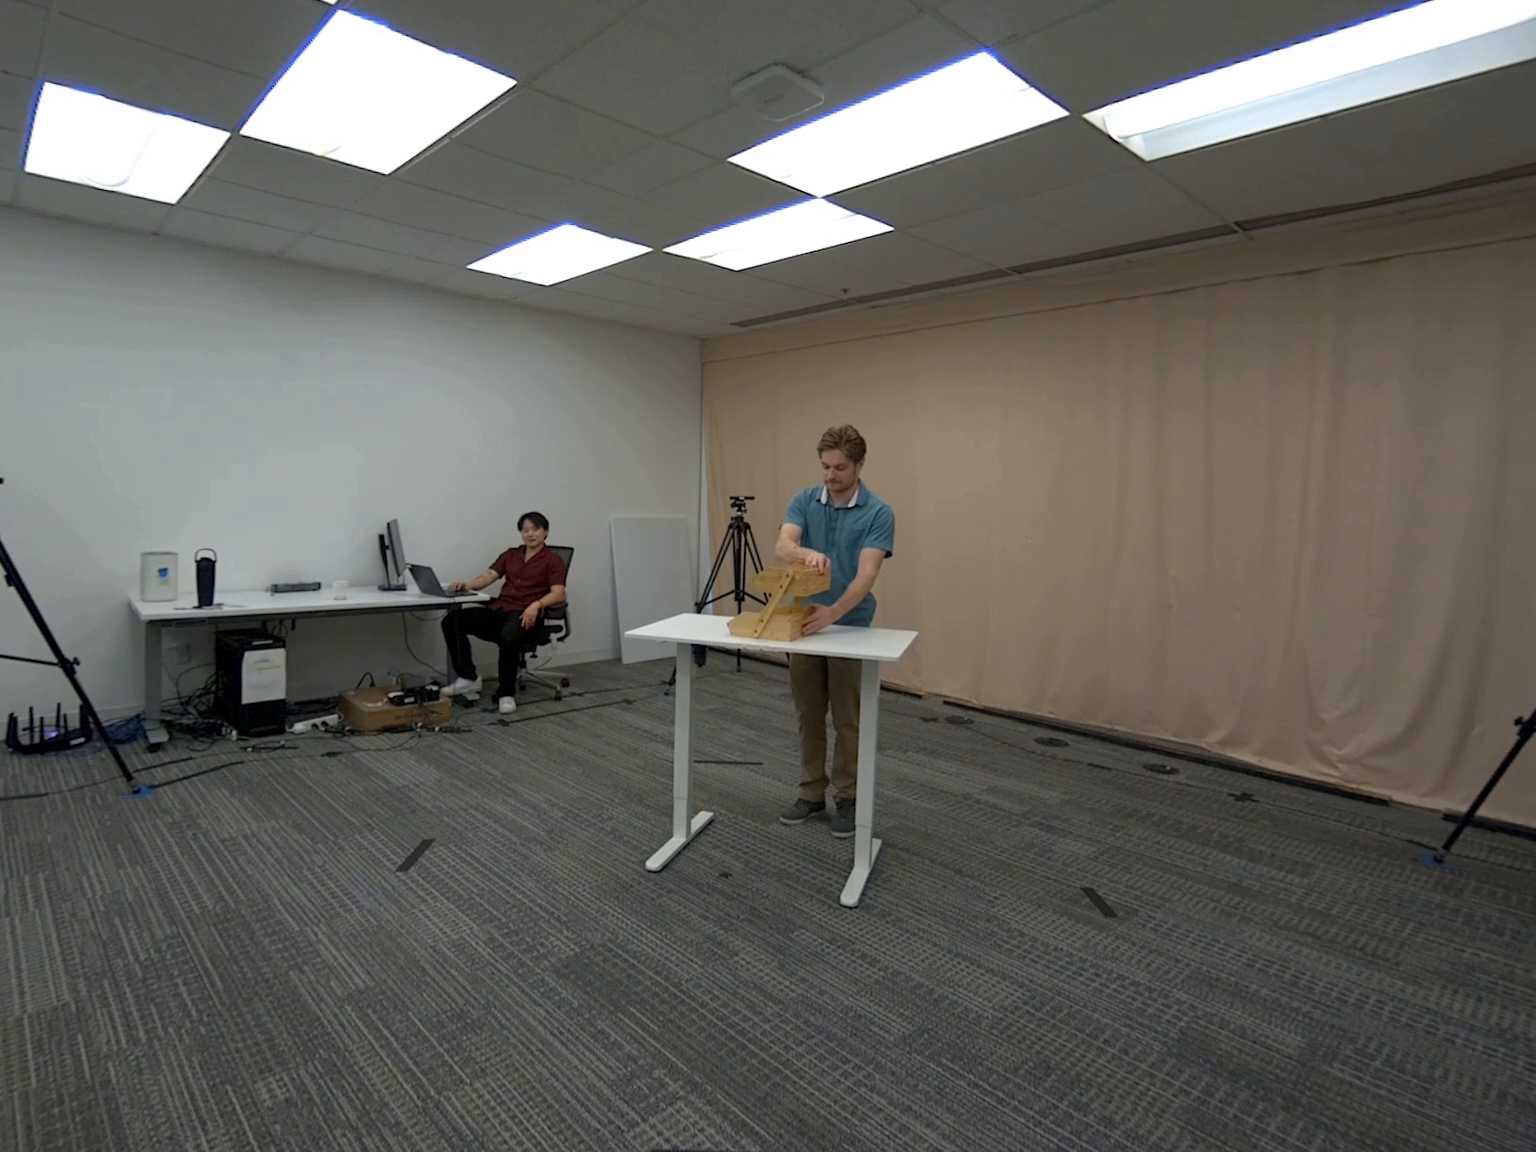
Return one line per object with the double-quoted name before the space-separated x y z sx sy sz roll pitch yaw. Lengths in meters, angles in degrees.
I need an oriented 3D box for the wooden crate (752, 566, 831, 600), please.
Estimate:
"wooden crate" 0.033 0.083 3.178 0.307 0.272 0.320 3 5 22
